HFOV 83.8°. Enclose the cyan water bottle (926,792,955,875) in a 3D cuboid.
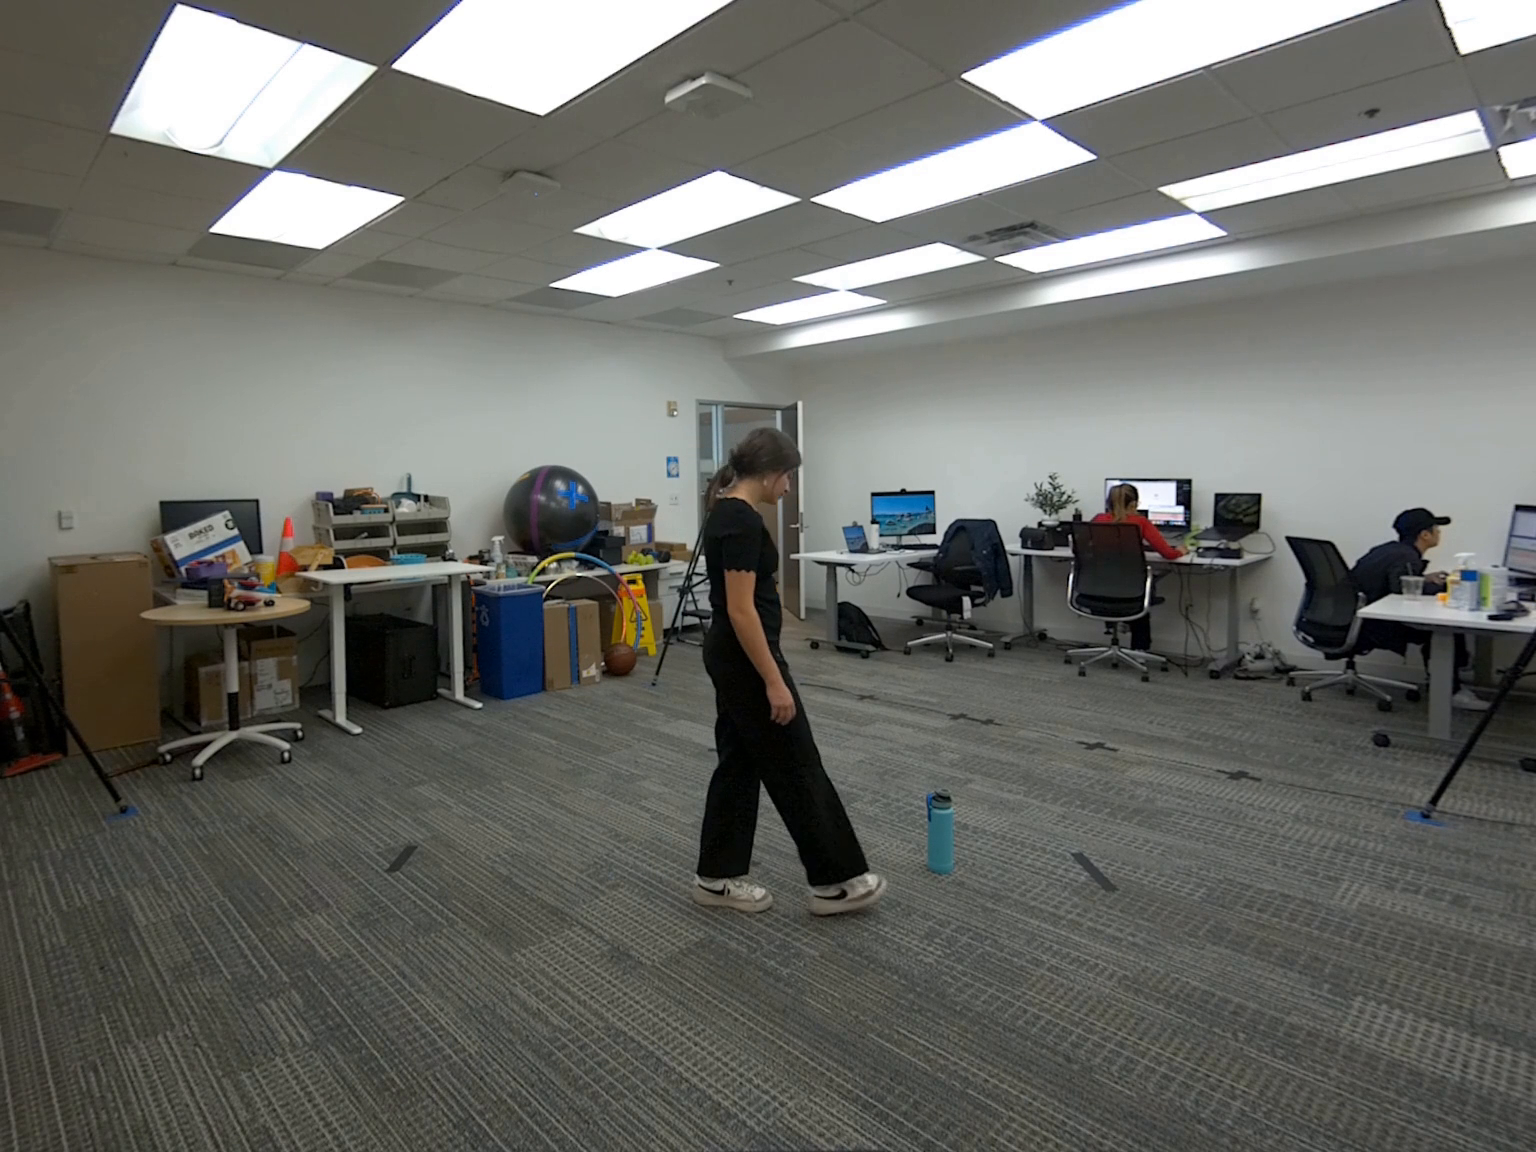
[{"bbox_3d":[0.614,0.900,3.029,0.092,0.282,0.093,-2,3,-2],"label":"cyan water bottle"}]
